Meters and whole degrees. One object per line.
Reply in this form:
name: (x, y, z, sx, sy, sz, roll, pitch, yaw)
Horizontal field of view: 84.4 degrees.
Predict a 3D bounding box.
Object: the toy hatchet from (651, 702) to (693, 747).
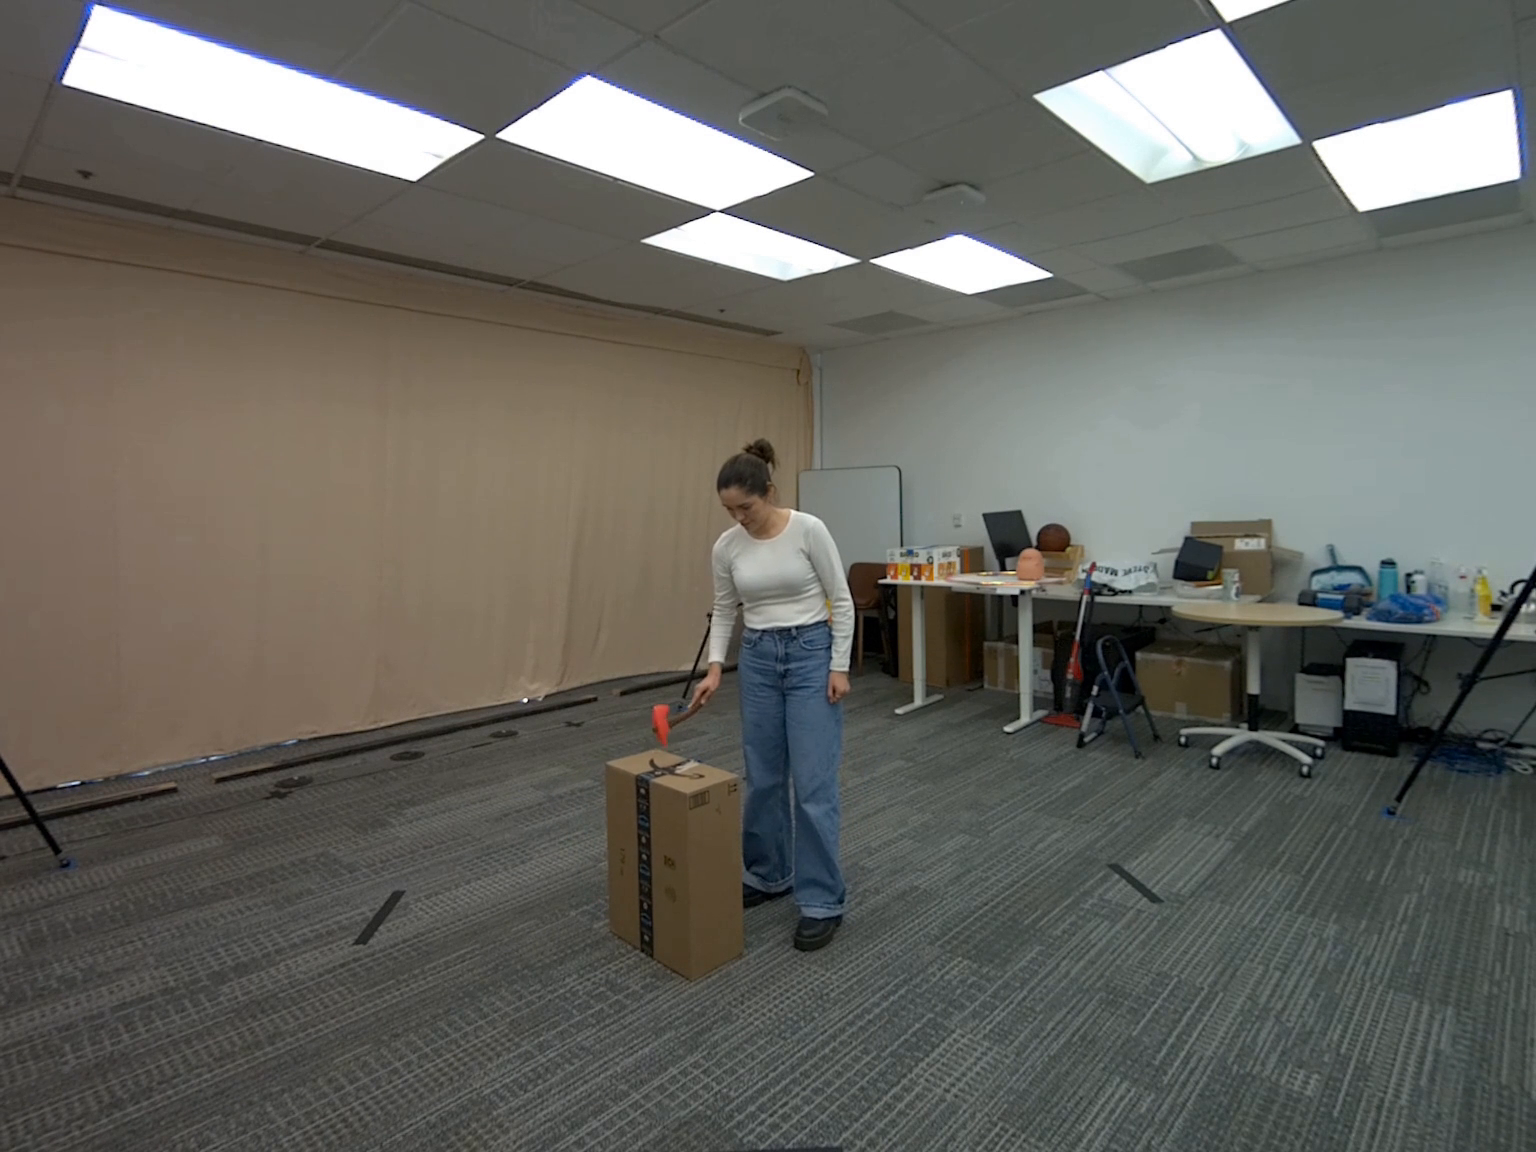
toy hatchet: (-0.293, 0.447, 2.770, 0.030, 0.129, 0.268, -14, 24, 43)
